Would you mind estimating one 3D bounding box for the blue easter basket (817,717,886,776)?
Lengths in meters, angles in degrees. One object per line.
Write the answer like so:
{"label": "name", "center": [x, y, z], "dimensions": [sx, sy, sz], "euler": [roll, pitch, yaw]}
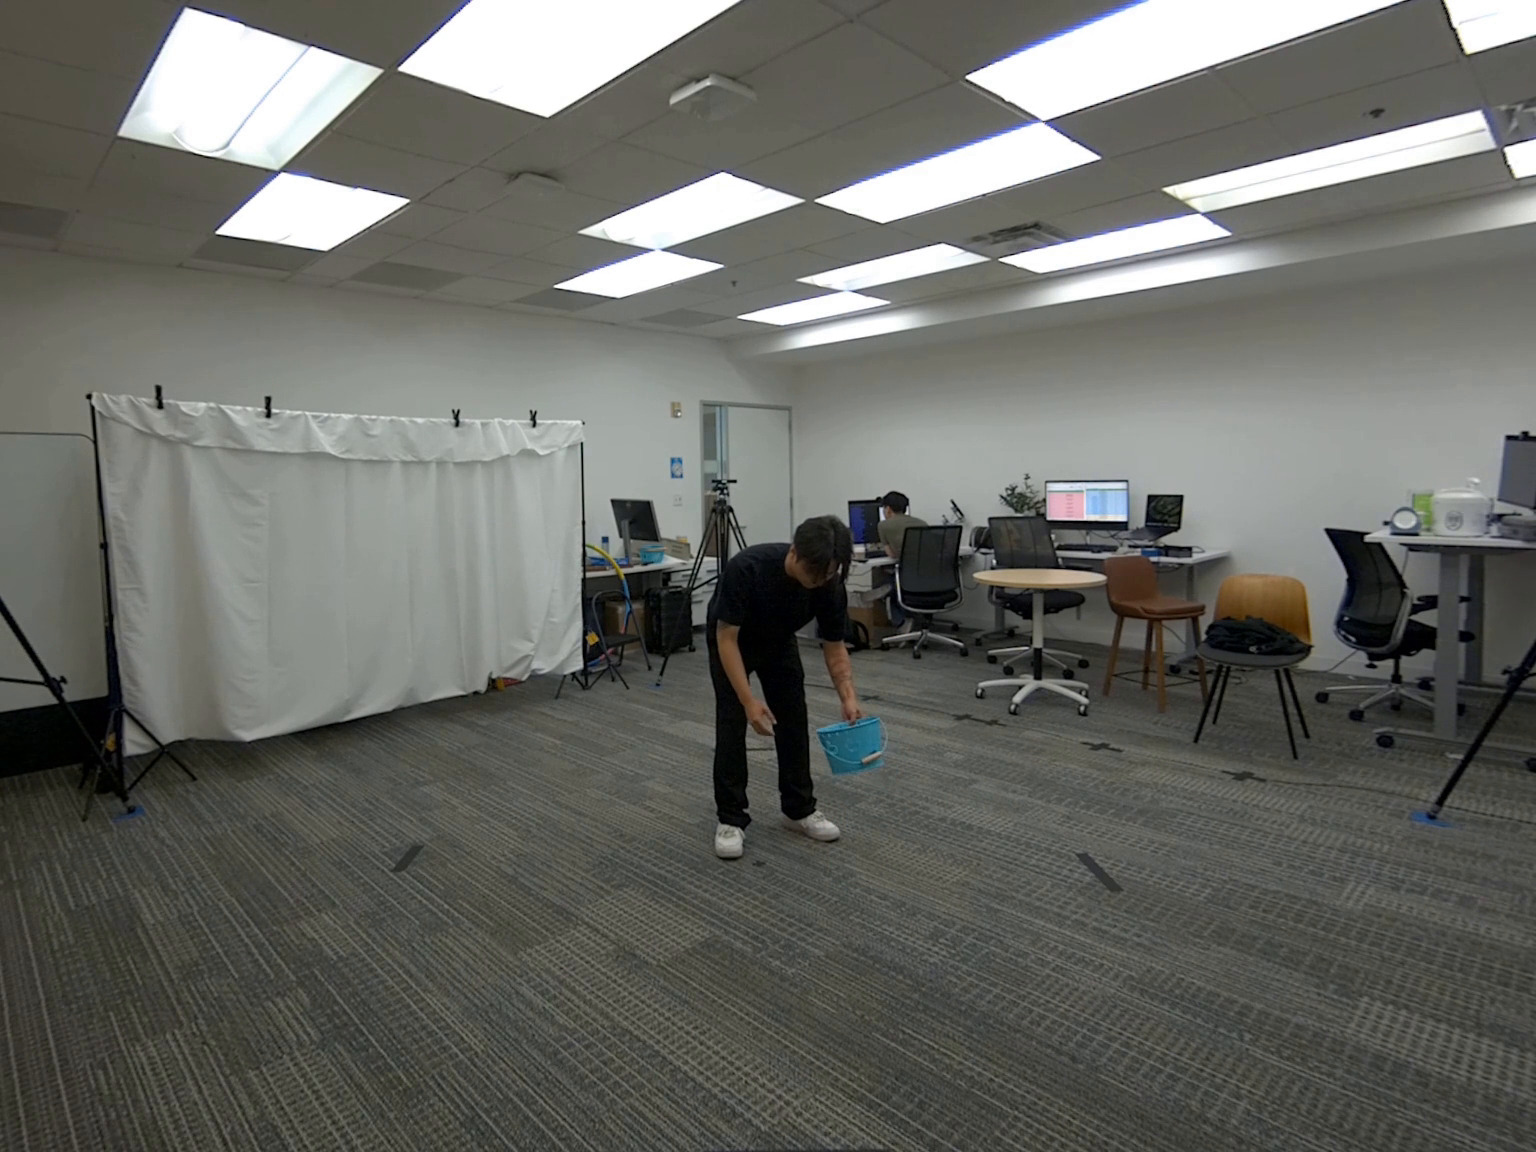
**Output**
{"label": "blue easter basket", "center": [0.298, 0.594, 2.961], "dimensions": [0.243, 0.157, 0.242], "euler": [-14, -7, -4]}
